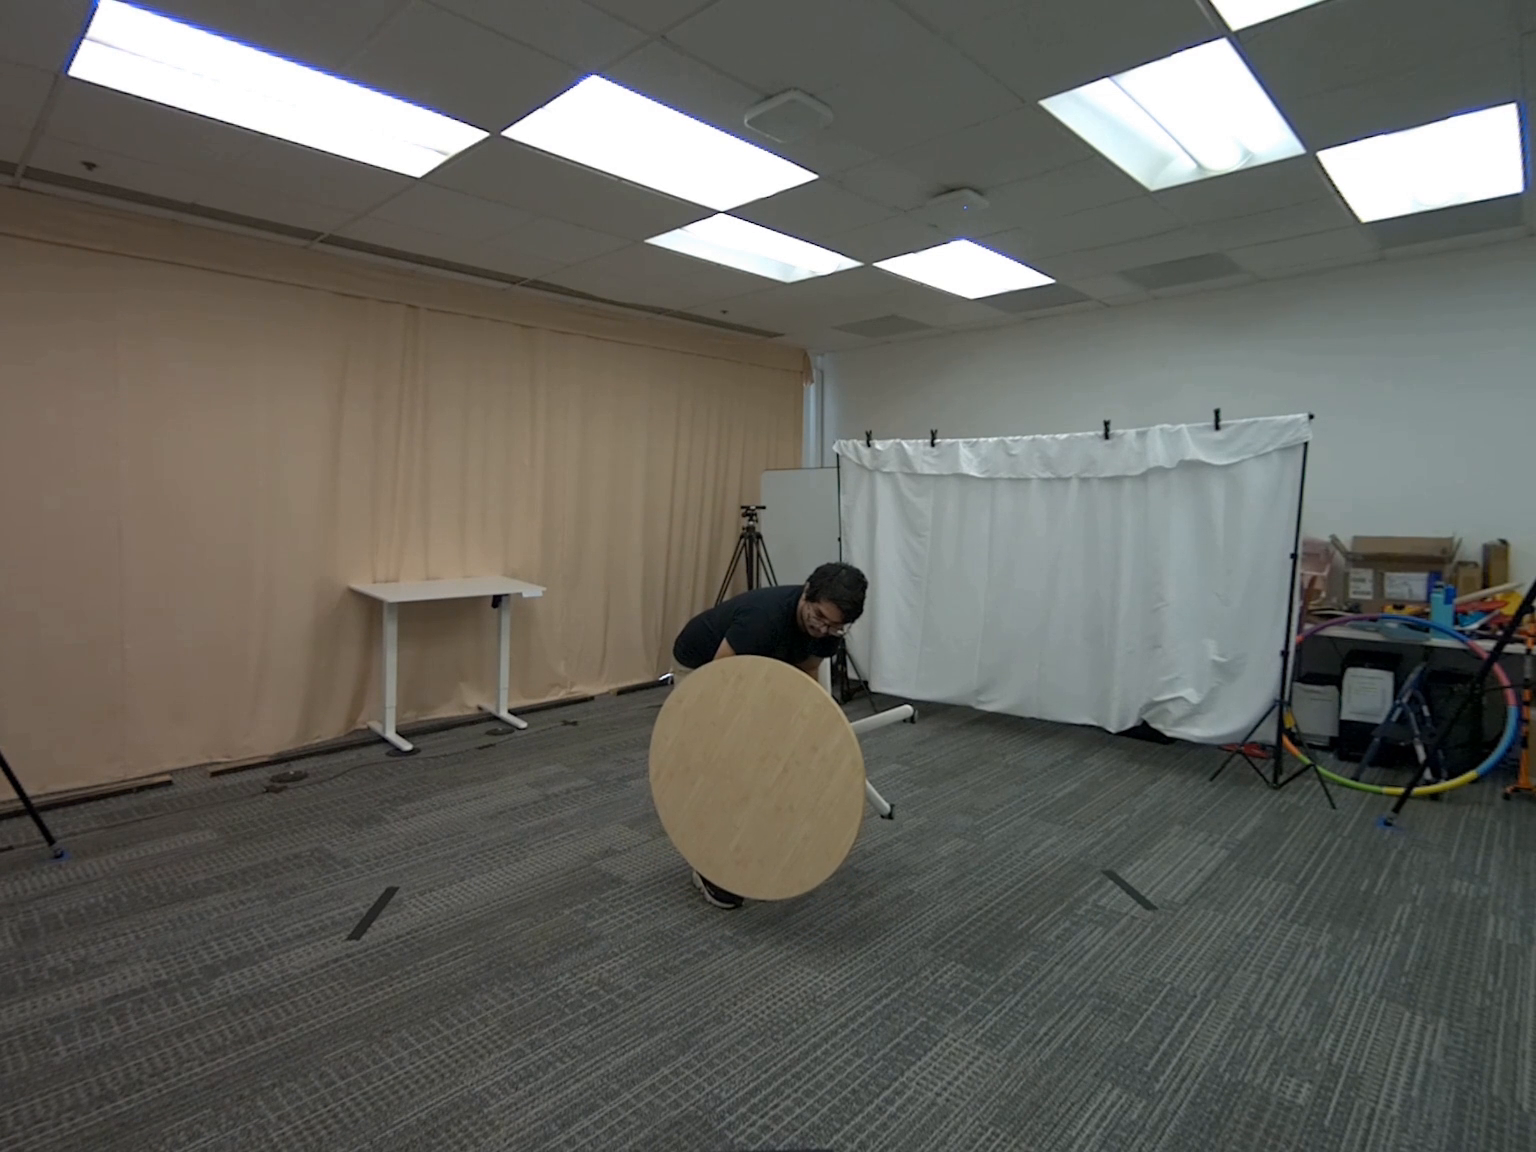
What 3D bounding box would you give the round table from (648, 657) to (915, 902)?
[{"bbox_3d":[0.119,0.636,3.028,0.807,0.785,0.765,2,1,28],"label":"round table"}]
